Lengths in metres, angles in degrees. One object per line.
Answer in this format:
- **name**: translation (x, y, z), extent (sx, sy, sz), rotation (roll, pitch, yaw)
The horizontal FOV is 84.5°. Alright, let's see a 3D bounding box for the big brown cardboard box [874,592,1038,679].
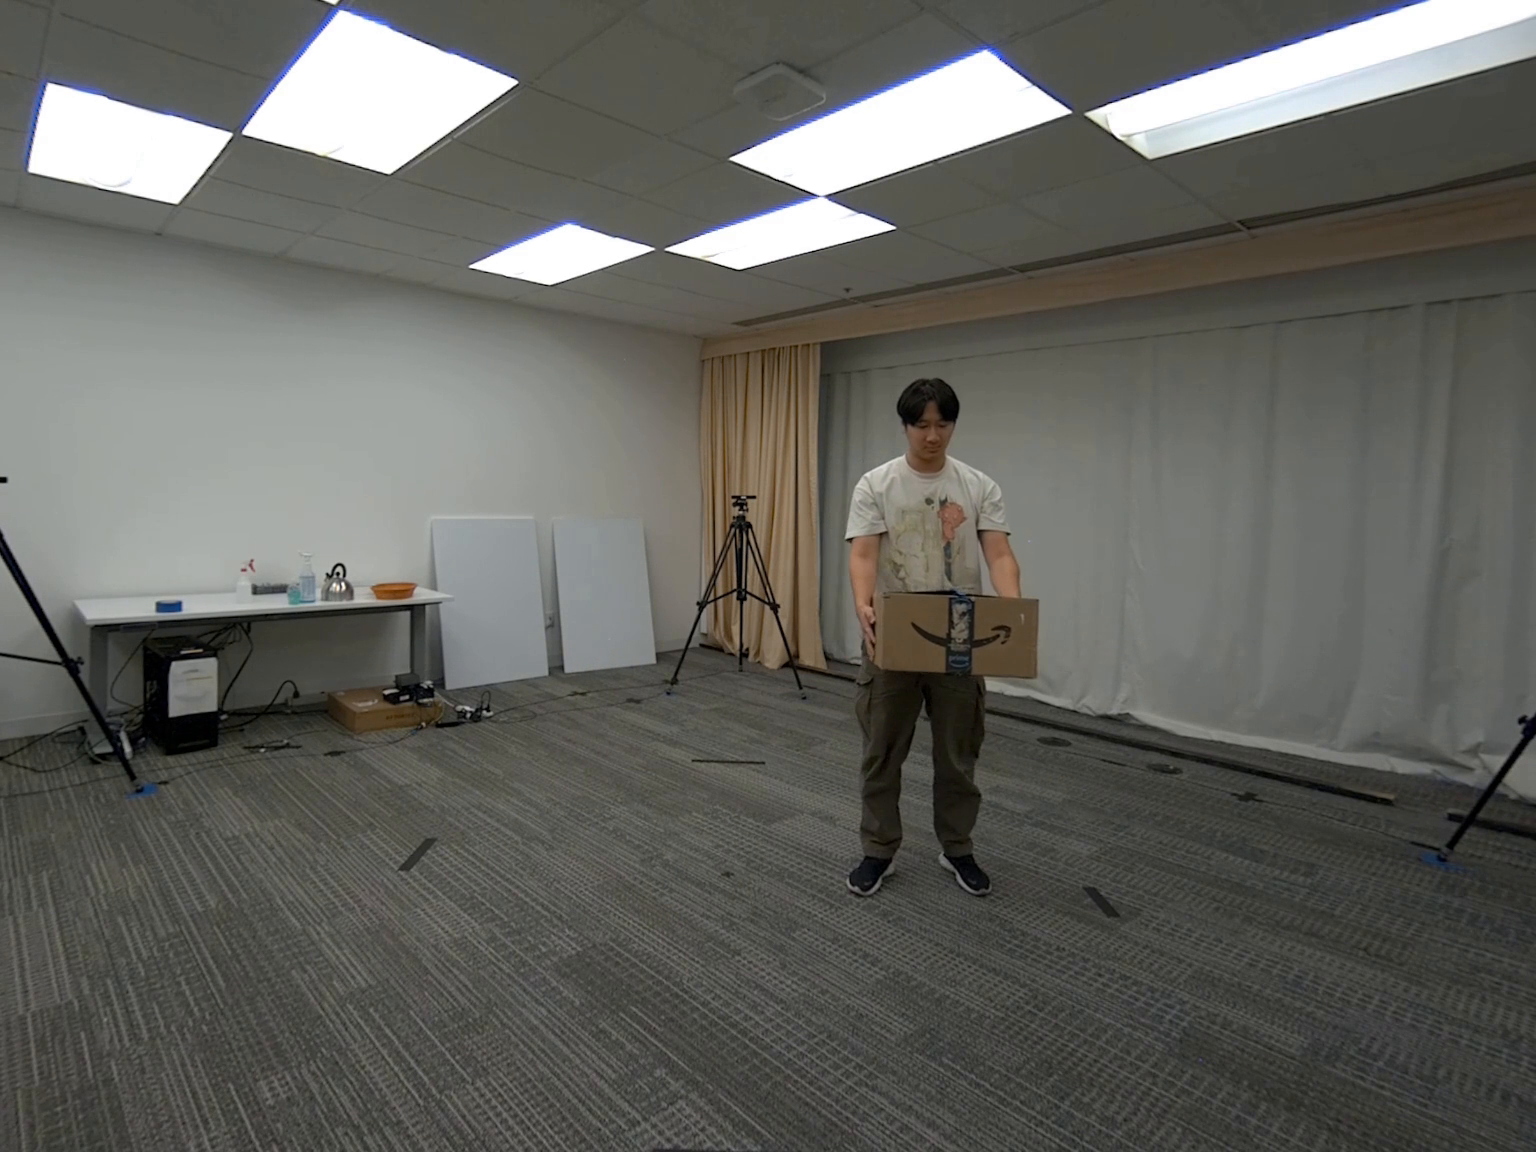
- **big brown cardboard box**: translation (0.531, 0.169, 2.549), extent (0.420, 0.234, 0.585), rotation (3, -2, 5)
